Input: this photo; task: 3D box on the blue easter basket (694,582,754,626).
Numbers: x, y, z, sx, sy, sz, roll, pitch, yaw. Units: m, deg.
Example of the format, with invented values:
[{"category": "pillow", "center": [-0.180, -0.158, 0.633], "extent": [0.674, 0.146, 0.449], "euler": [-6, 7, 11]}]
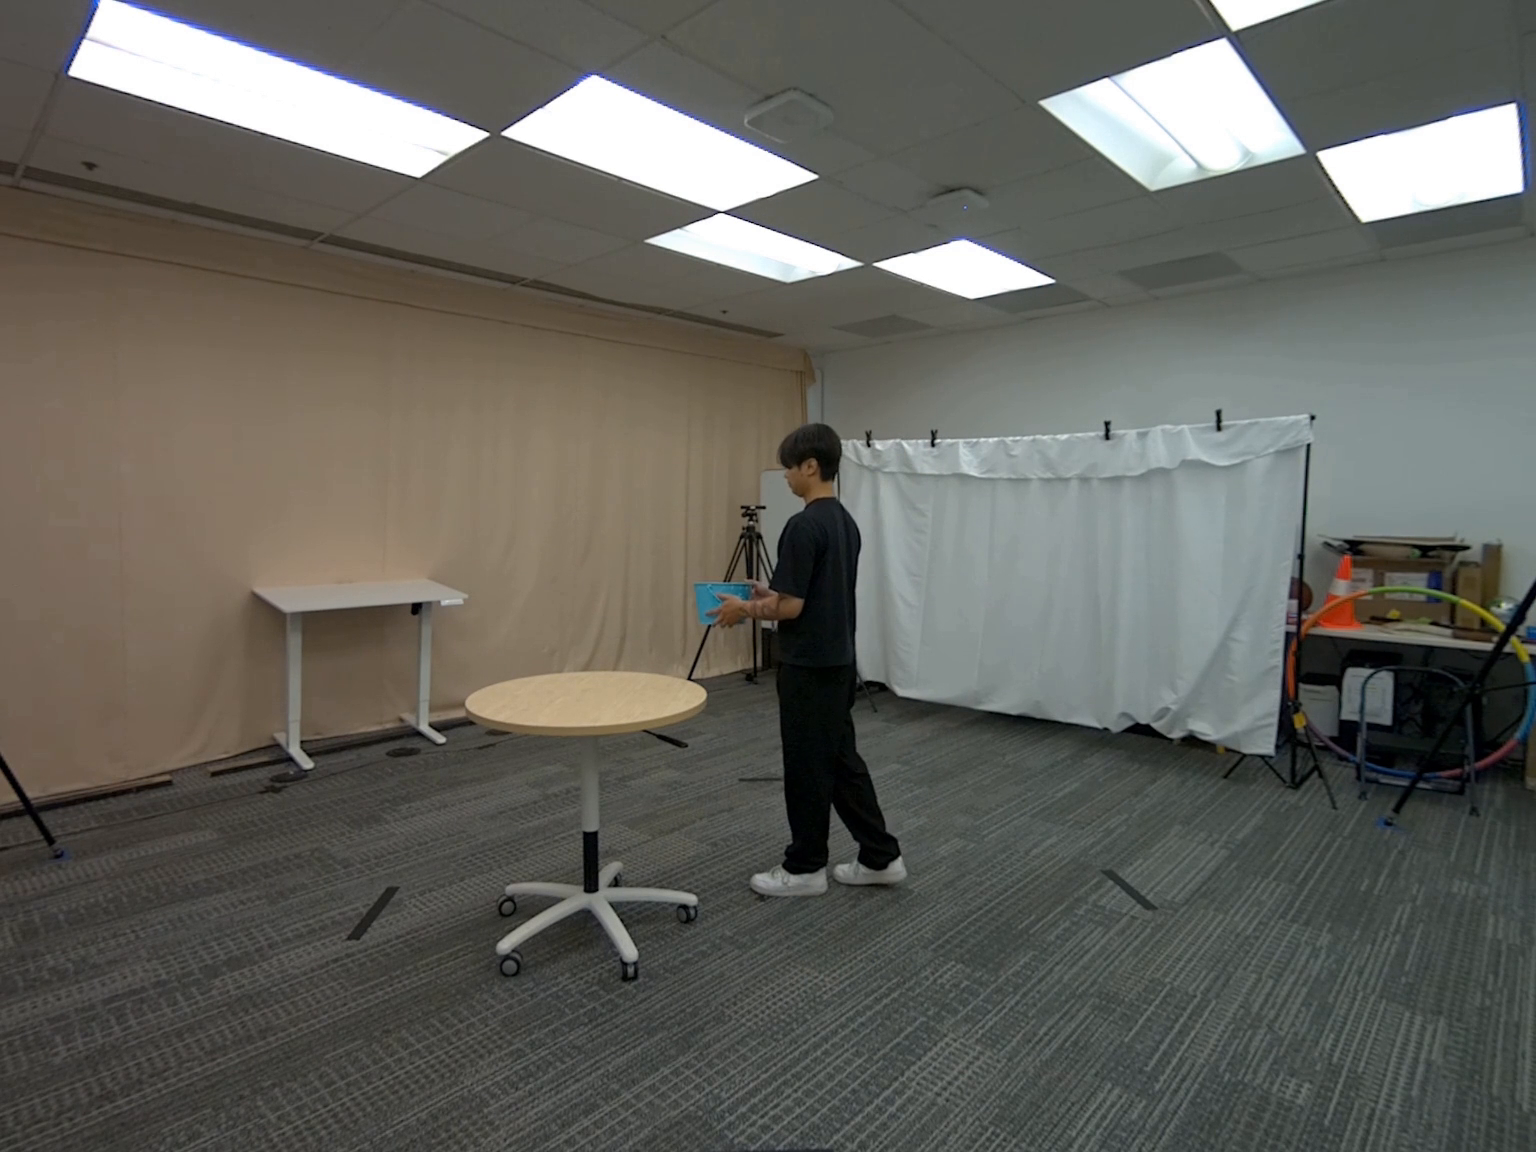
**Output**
[{"category": "blue easter basket", "center": [-0.157, 0.103, 3.180], "extent": [0.243, 0.156, 0.244], "euler": [0, 0, -2]}]
